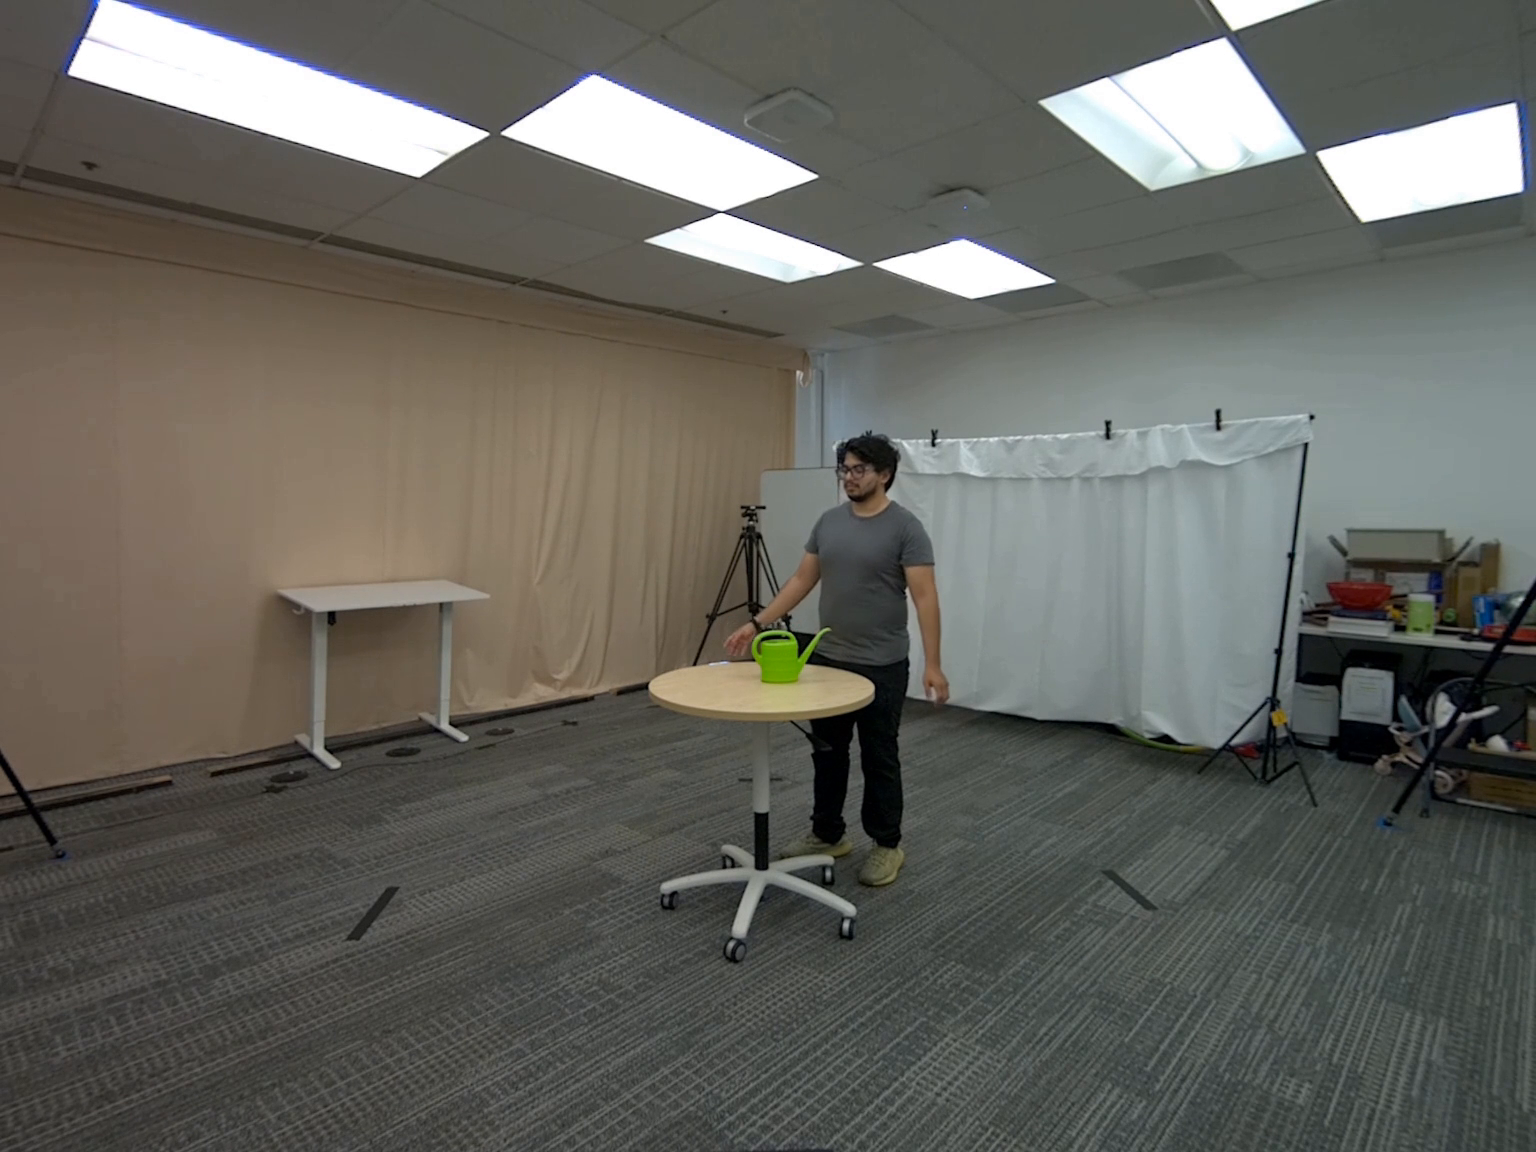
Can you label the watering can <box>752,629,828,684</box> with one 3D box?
[{"bbox_3d":[0.088,0.281,2.920,0.280,0.176,0.097,0,4,6],"label":"watering can"}]
